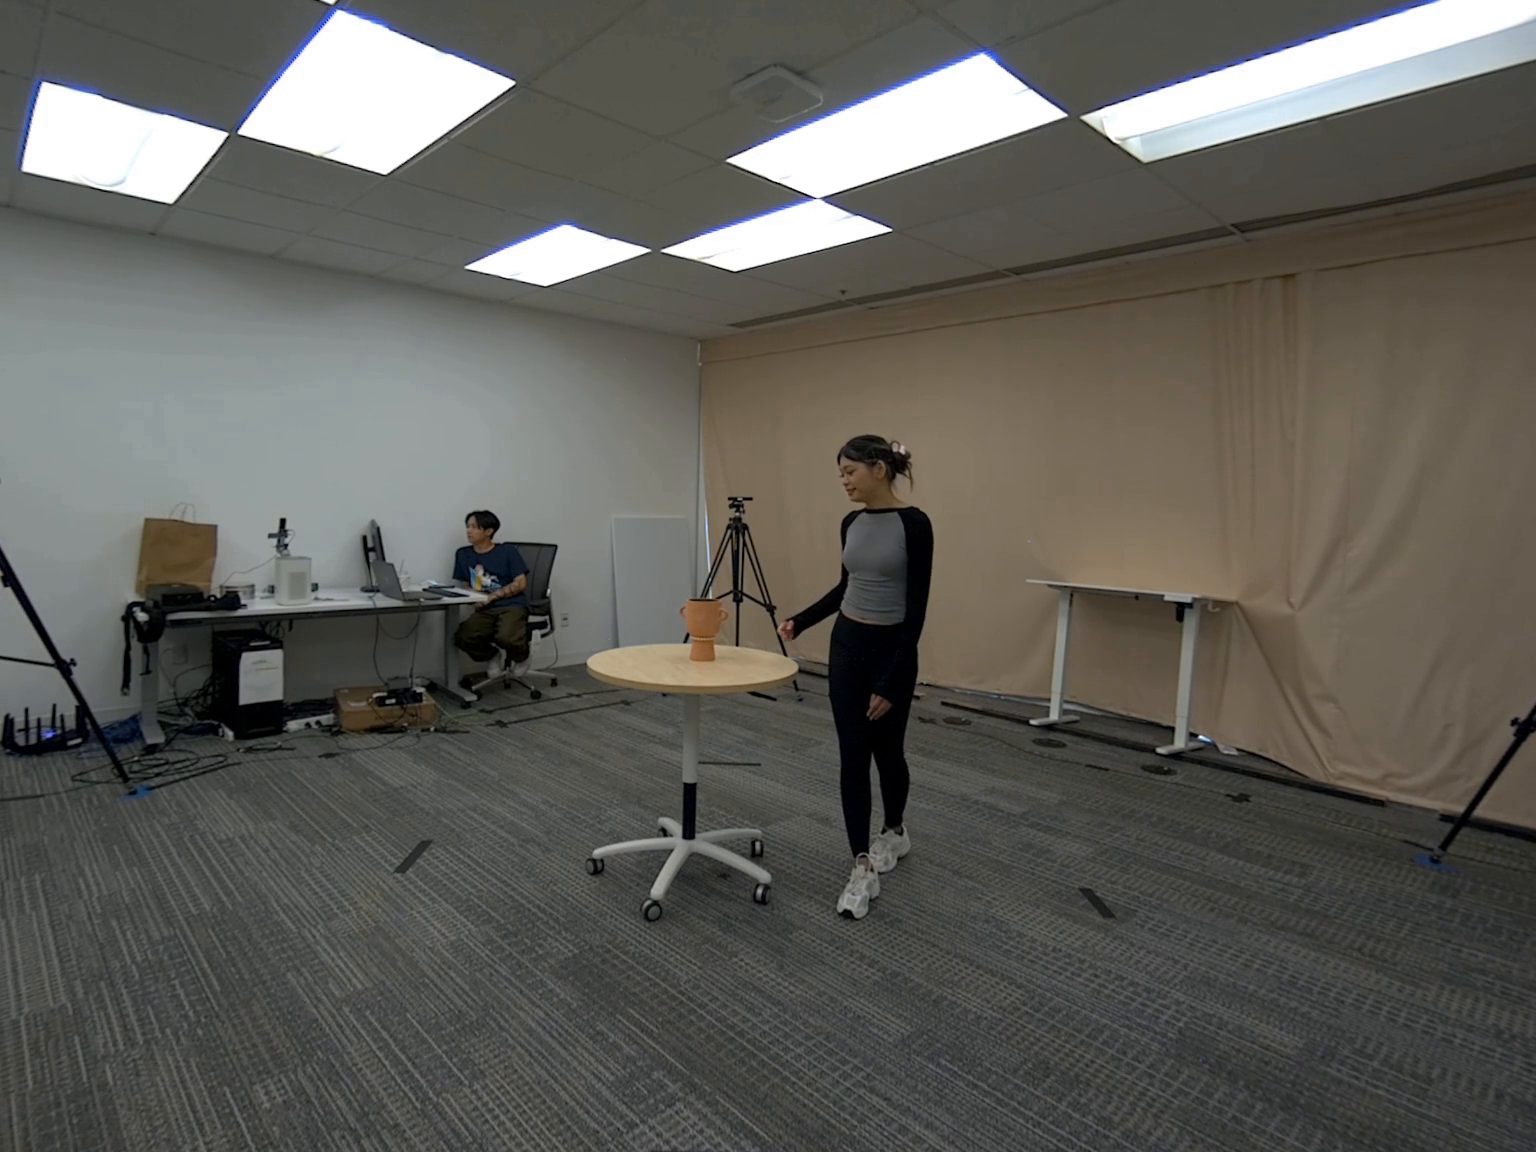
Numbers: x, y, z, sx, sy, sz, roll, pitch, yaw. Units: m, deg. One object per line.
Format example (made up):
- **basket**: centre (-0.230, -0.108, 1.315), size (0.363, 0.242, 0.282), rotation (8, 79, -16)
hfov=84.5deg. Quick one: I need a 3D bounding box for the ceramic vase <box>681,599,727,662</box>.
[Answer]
- **ceramic vase**: centre (-0.242, 0.200, 3.126), size (0.132, 0.219, 0.162), rotation (0, 4, -30)
